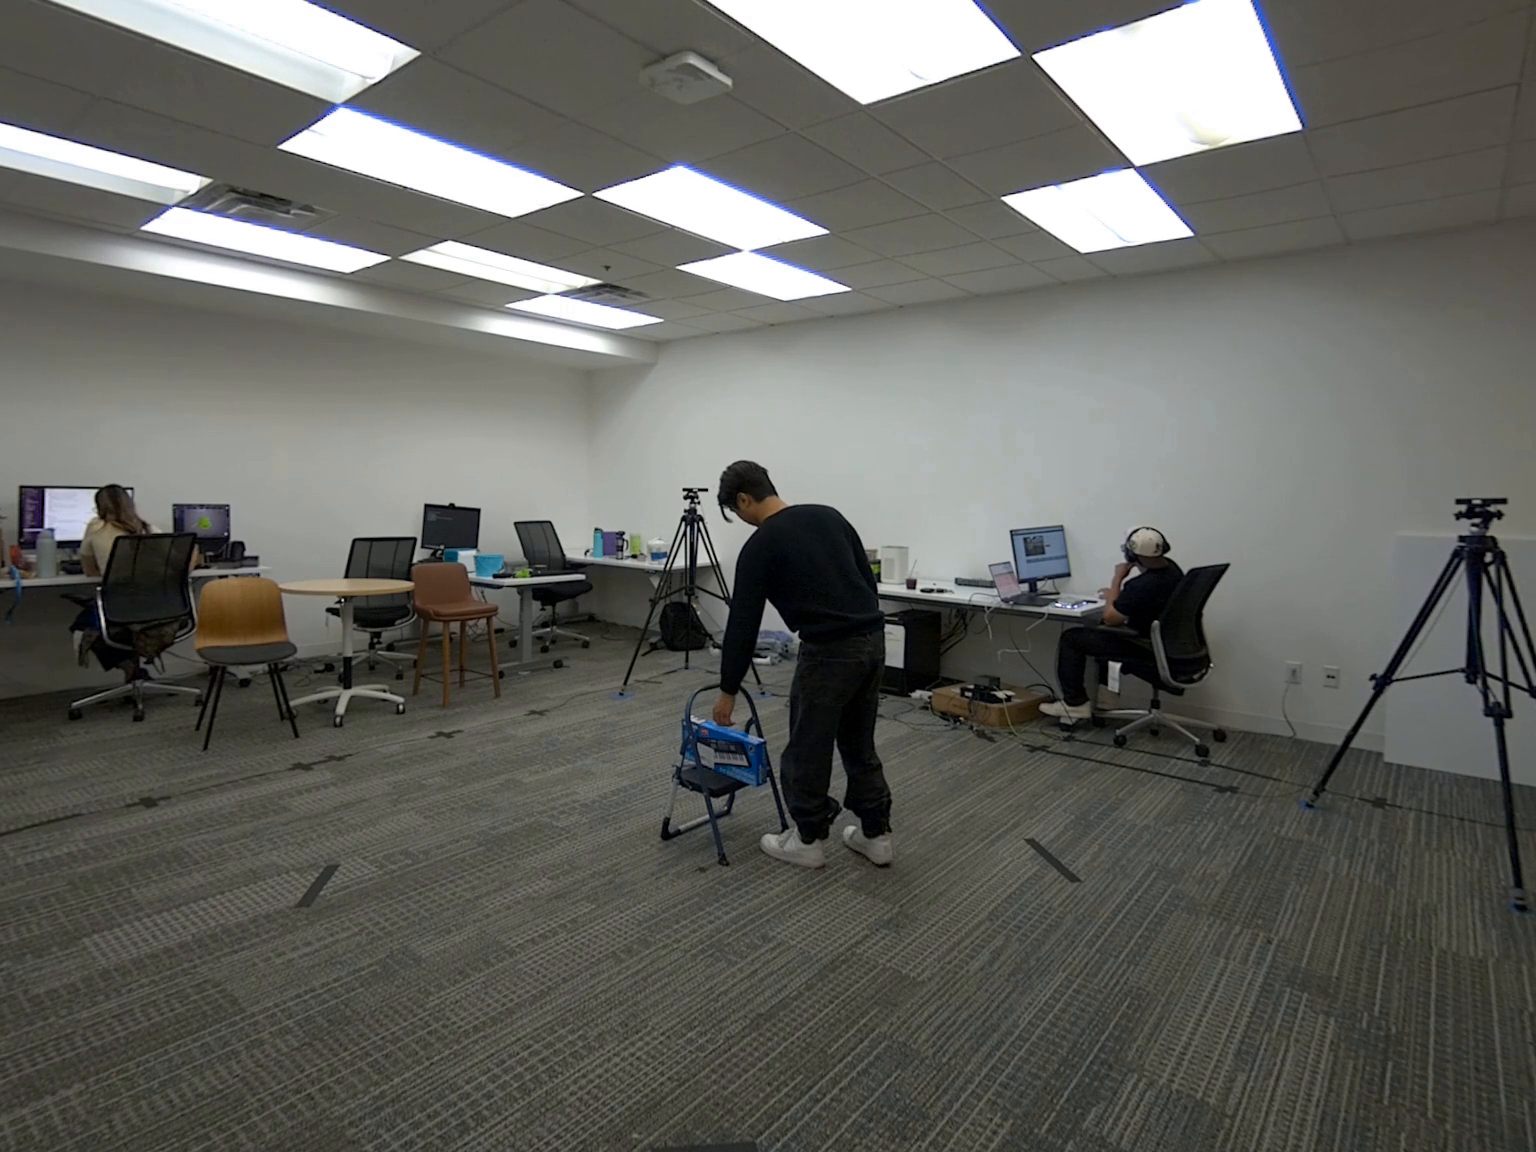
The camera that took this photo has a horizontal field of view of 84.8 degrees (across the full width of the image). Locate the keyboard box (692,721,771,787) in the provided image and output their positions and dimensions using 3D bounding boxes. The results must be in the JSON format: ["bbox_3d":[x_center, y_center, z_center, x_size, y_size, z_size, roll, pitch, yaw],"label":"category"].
[{"bbox_3d":[-0.194,0.691,3.401,0.057,0.175,0.452,-6,10,-44],"label":"keyboard box"}]
